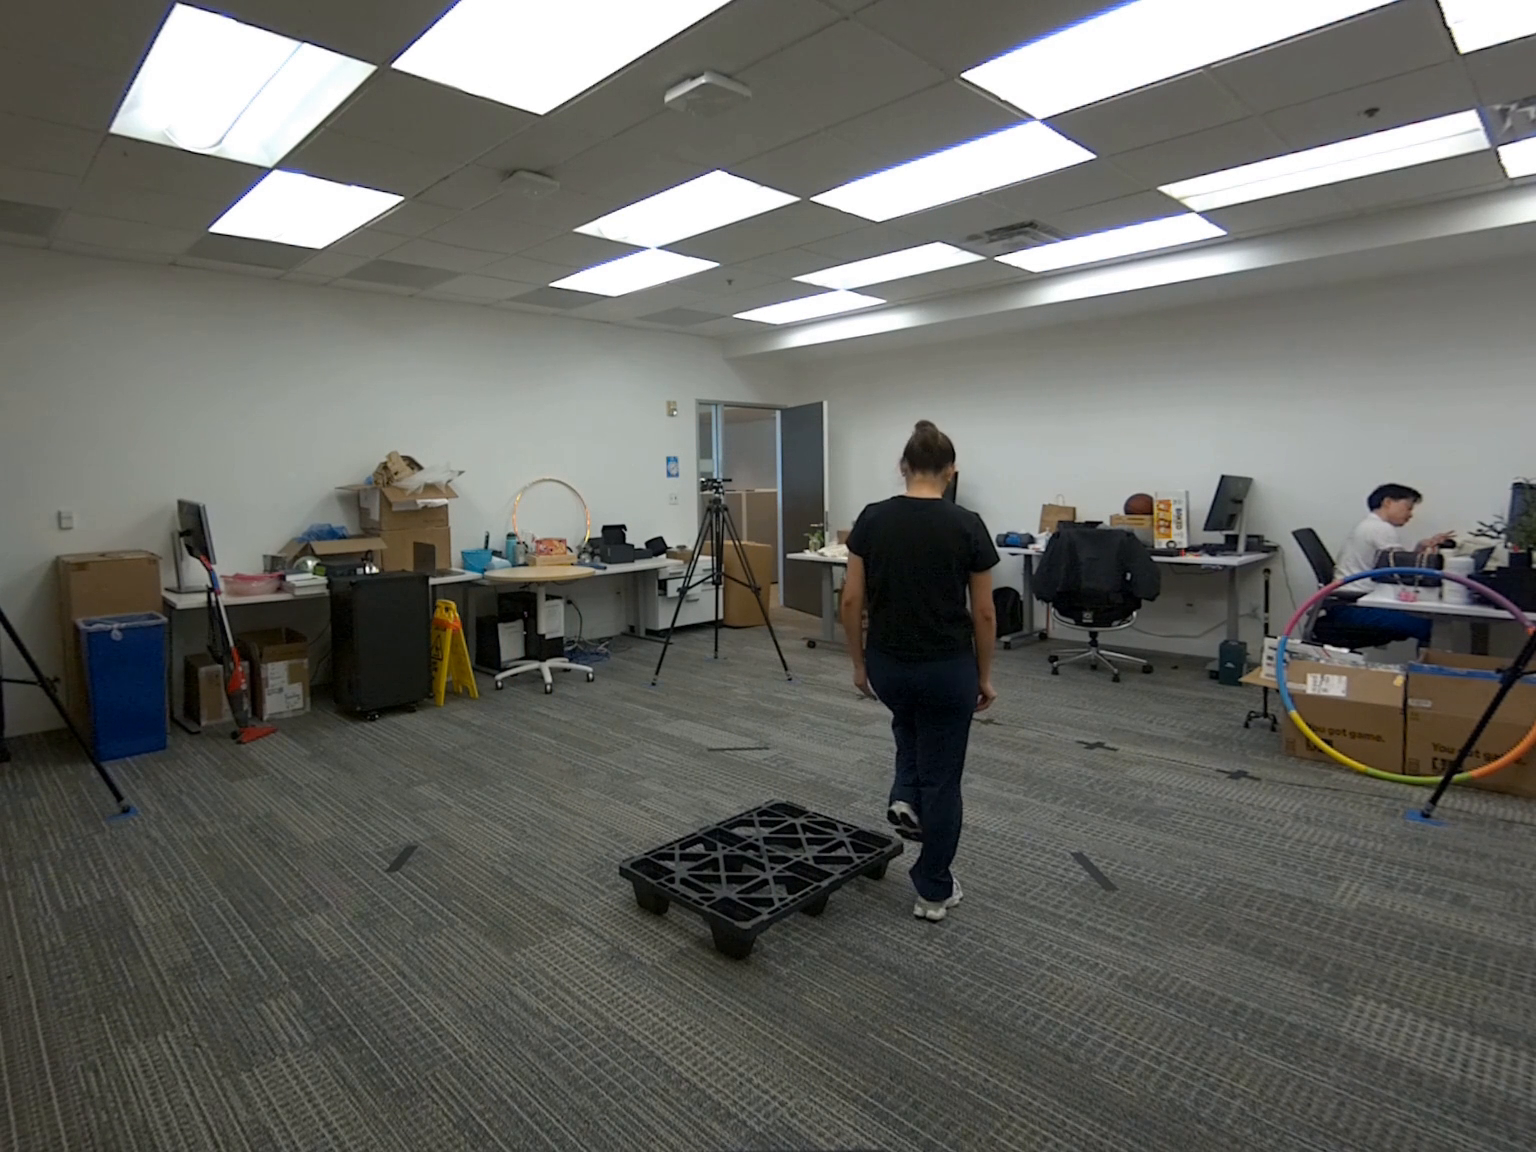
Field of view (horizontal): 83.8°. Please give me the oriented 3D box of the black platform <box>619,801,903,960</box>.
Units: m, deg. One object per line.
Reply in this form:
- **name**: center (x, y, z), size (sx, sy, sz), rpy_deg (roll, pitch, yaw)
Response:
- **black platform**: center (-0.004, 1.002, 2.905), size (0.624, 0.142, 0.785), rpy_deg (6, 10, 43)
